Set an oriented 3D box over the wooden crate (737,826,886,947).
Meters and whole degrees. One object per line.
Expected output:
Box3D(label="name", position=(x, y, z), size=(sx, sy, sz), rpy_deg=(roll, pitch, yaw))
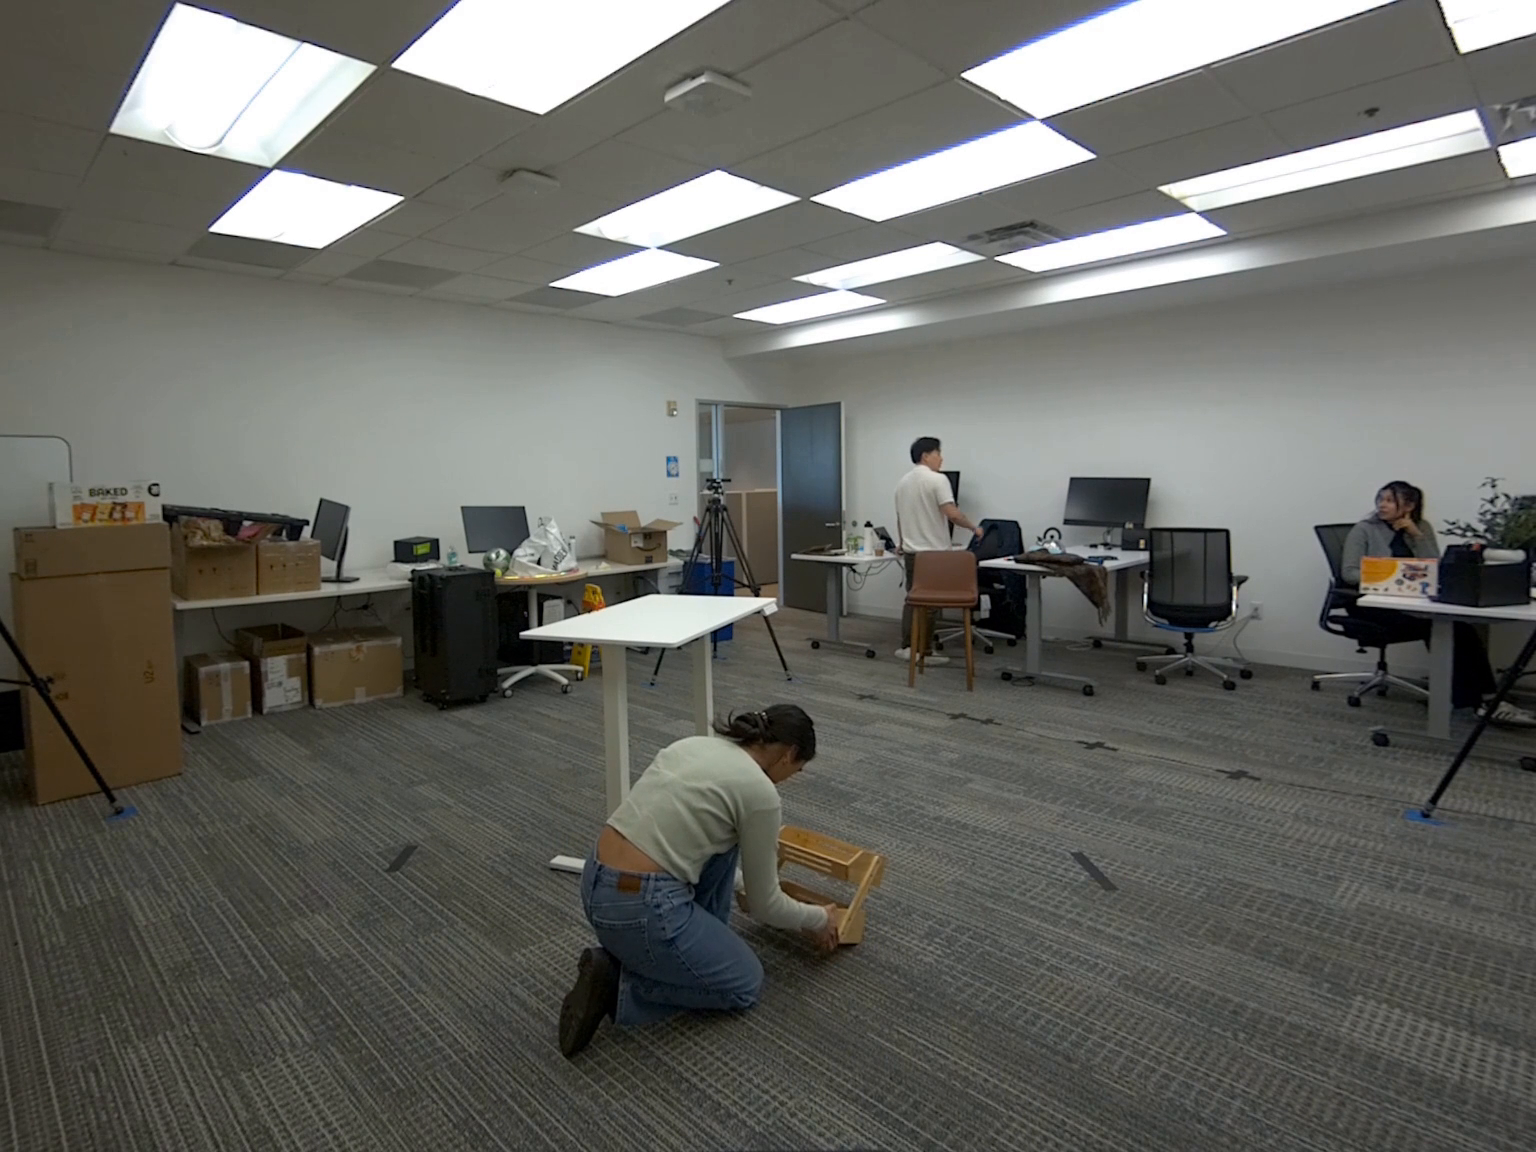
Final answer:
Box3D(label="wooden crate", position=(0.138, 0.934, 2.626), size=(0.334, 0.275, 0.290), rpy_deg=(4, -16, 42))
